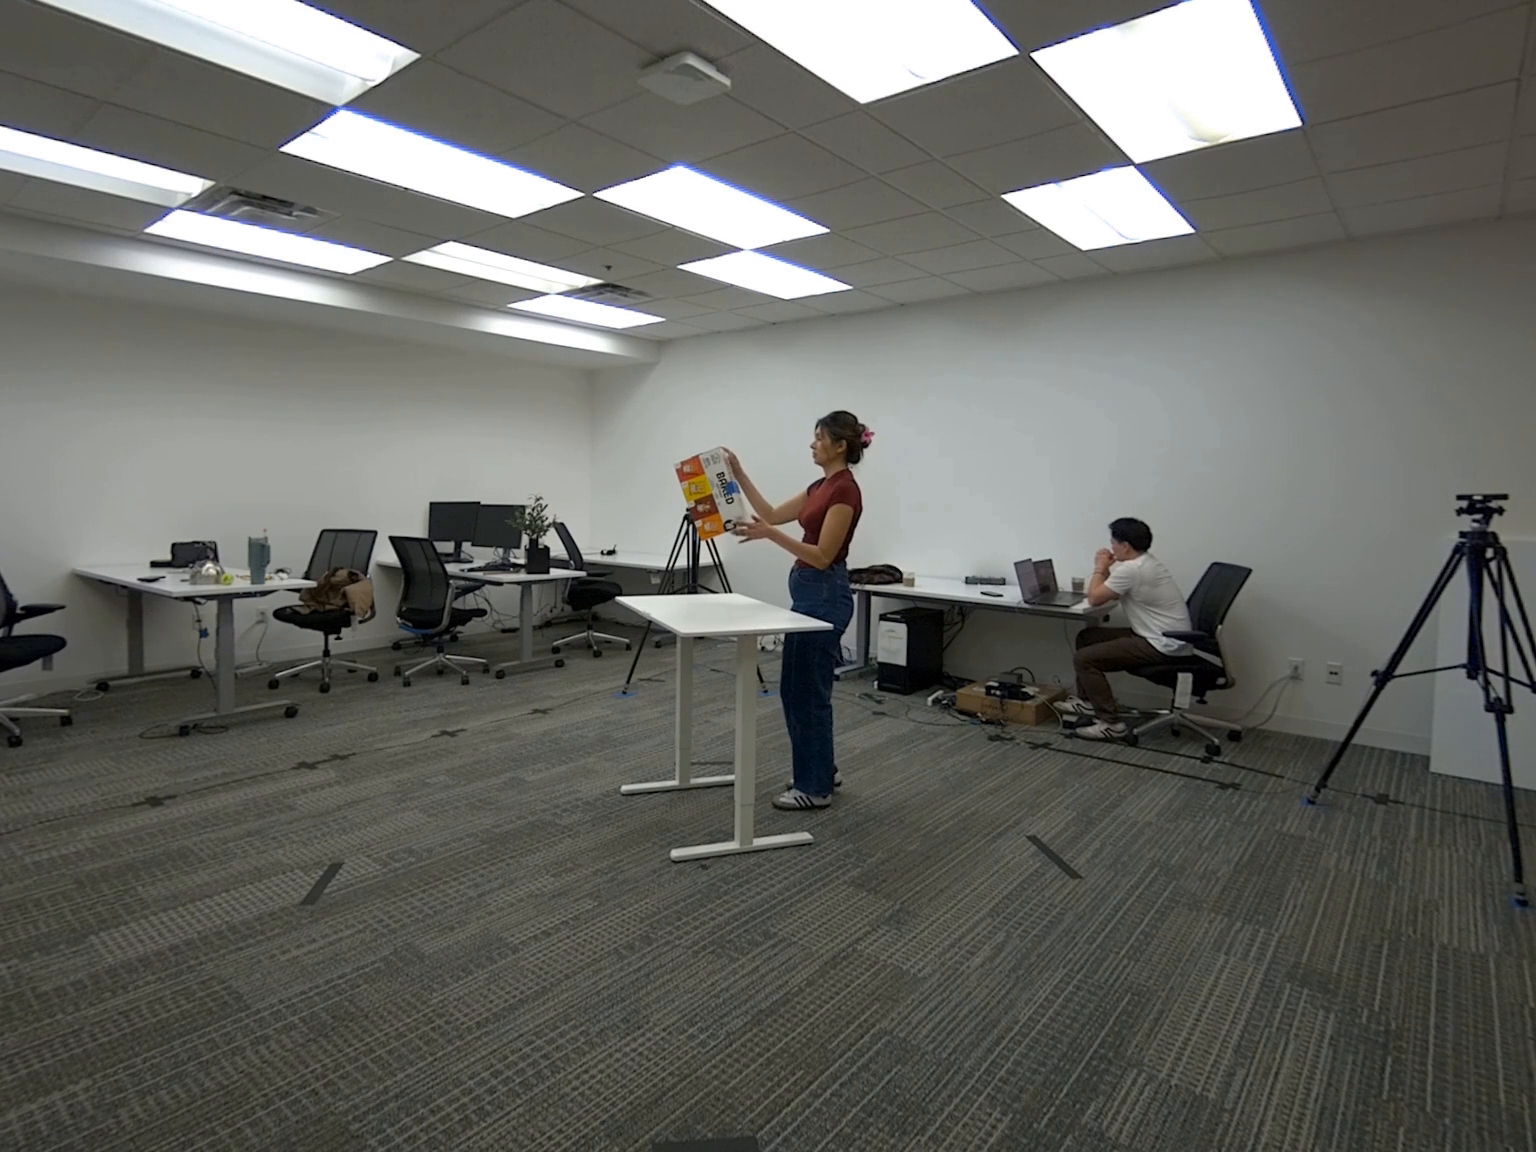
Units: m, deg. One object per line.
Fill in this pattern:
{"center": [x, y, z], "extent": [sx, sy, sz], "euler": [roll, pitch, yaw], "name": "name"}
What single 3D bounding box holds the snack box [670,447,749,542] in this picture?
{"center": [-0.245, -0.353, 3.657], "extent": [0.206, 0.340, 0.404], "euler": [-19, 2, 4], "name": "snack box"}
